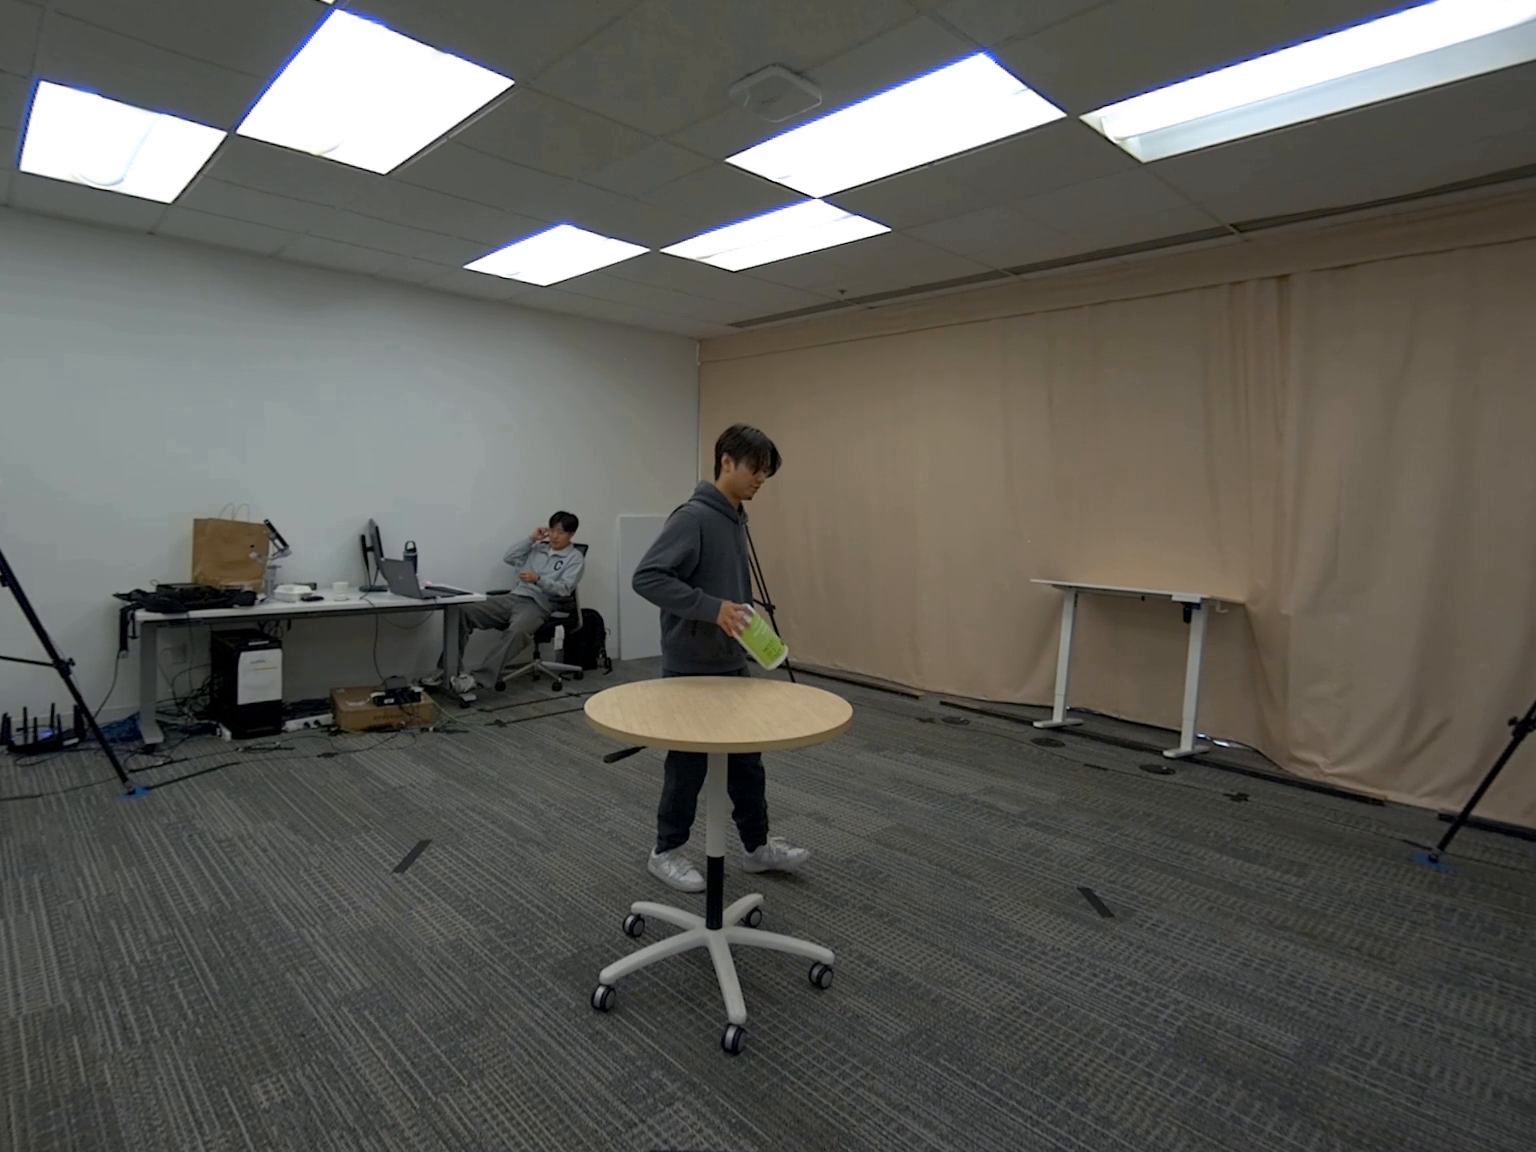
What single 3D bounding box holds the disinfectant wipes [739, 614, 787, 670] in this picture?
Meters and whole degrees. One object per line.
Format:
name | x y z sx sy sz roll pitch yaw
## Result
disinfectant wipes | -0.047 0.205 2.767 0.118 0.213 0.120 -34 21 14
